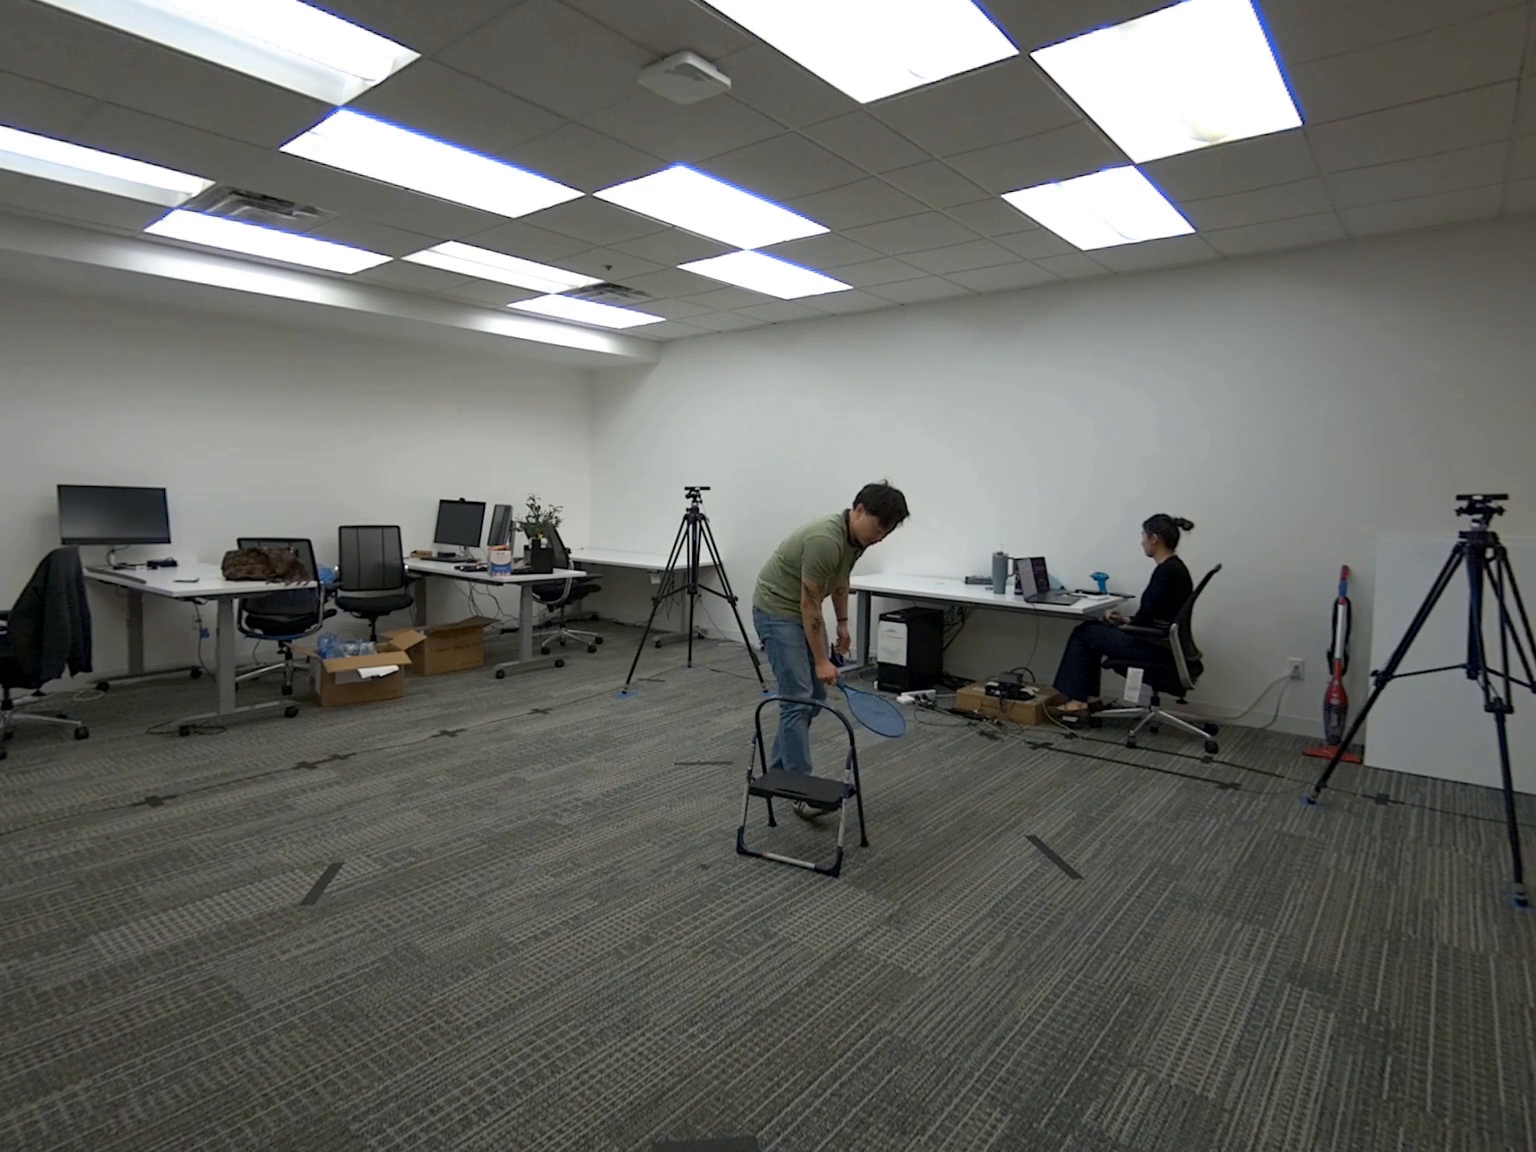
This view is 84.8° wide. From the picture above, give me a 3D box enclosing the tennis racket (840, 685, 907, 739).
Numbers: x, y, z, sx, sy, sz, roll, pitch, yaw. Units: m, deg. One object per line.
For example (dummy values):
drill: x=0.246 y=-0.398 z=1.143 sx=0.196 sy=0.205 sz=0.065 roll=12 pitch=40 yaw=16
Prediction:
tennis racket: x=0.389 y=0.537 z=3.577 sx=0.445 sy=0.031 sz=0.211 roll=28 pitch=34 yaw=21
